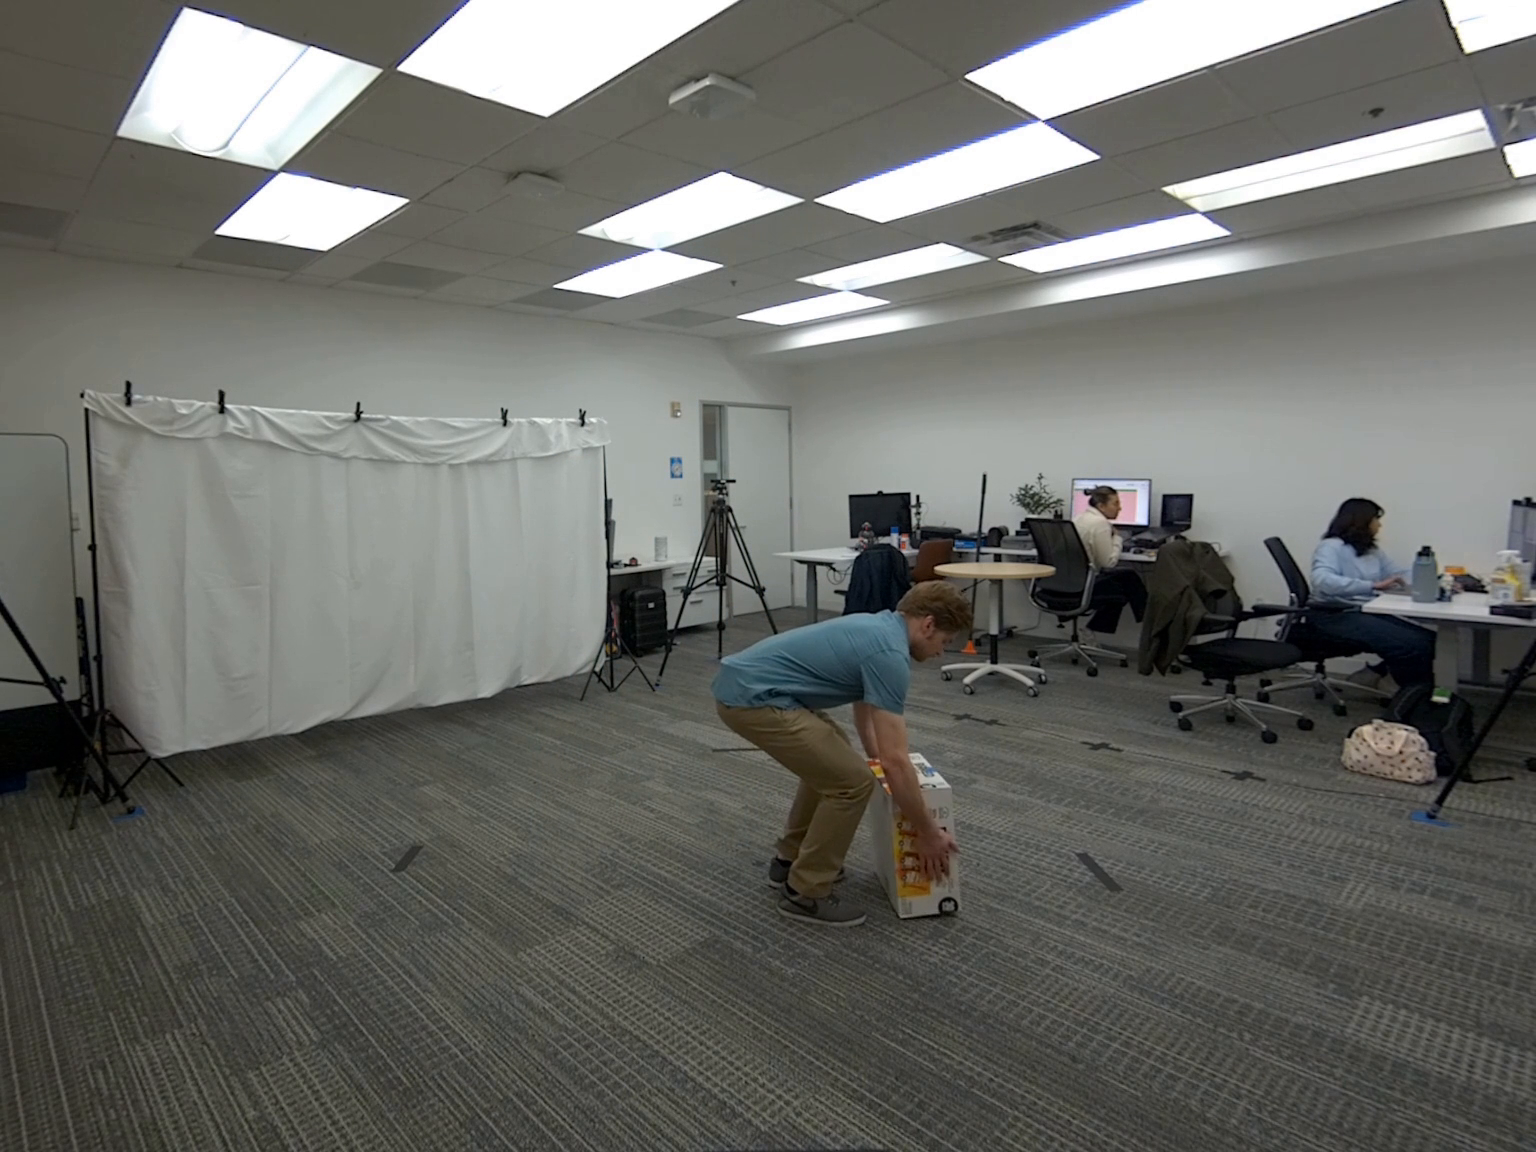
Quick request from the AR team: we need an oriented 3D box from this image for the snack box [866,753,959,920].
[{"bbox_3d":[0.480,0.842,2.847,0.205,0.403,0.342,-5,5,-3],"label":"snack box"}]
